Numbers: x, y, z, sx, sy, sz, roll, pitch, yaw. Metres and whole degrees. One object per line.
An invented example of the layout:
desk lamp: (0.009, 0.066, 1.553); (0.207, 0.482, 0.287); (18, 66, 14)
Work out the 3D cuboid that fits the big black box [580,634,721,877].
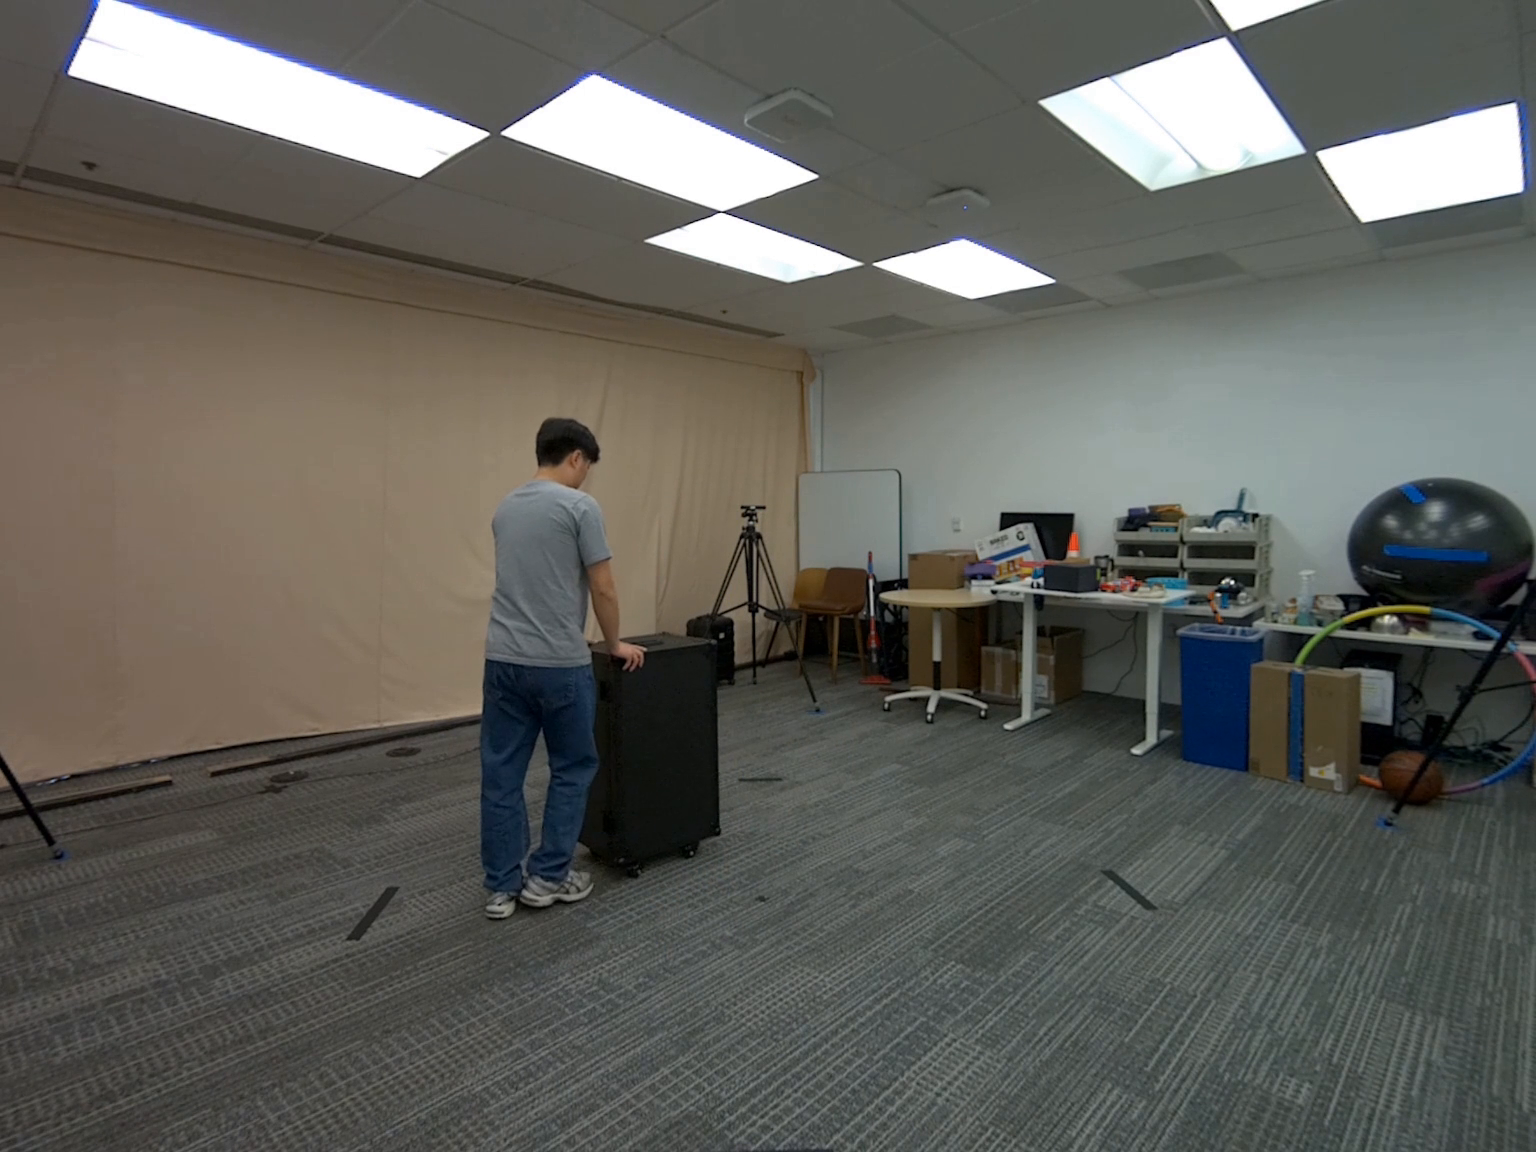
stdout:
big black box: (-0.500, 0.693, 3.361); (0.505, 0.860, 0.409); (-4, 3, -41)
